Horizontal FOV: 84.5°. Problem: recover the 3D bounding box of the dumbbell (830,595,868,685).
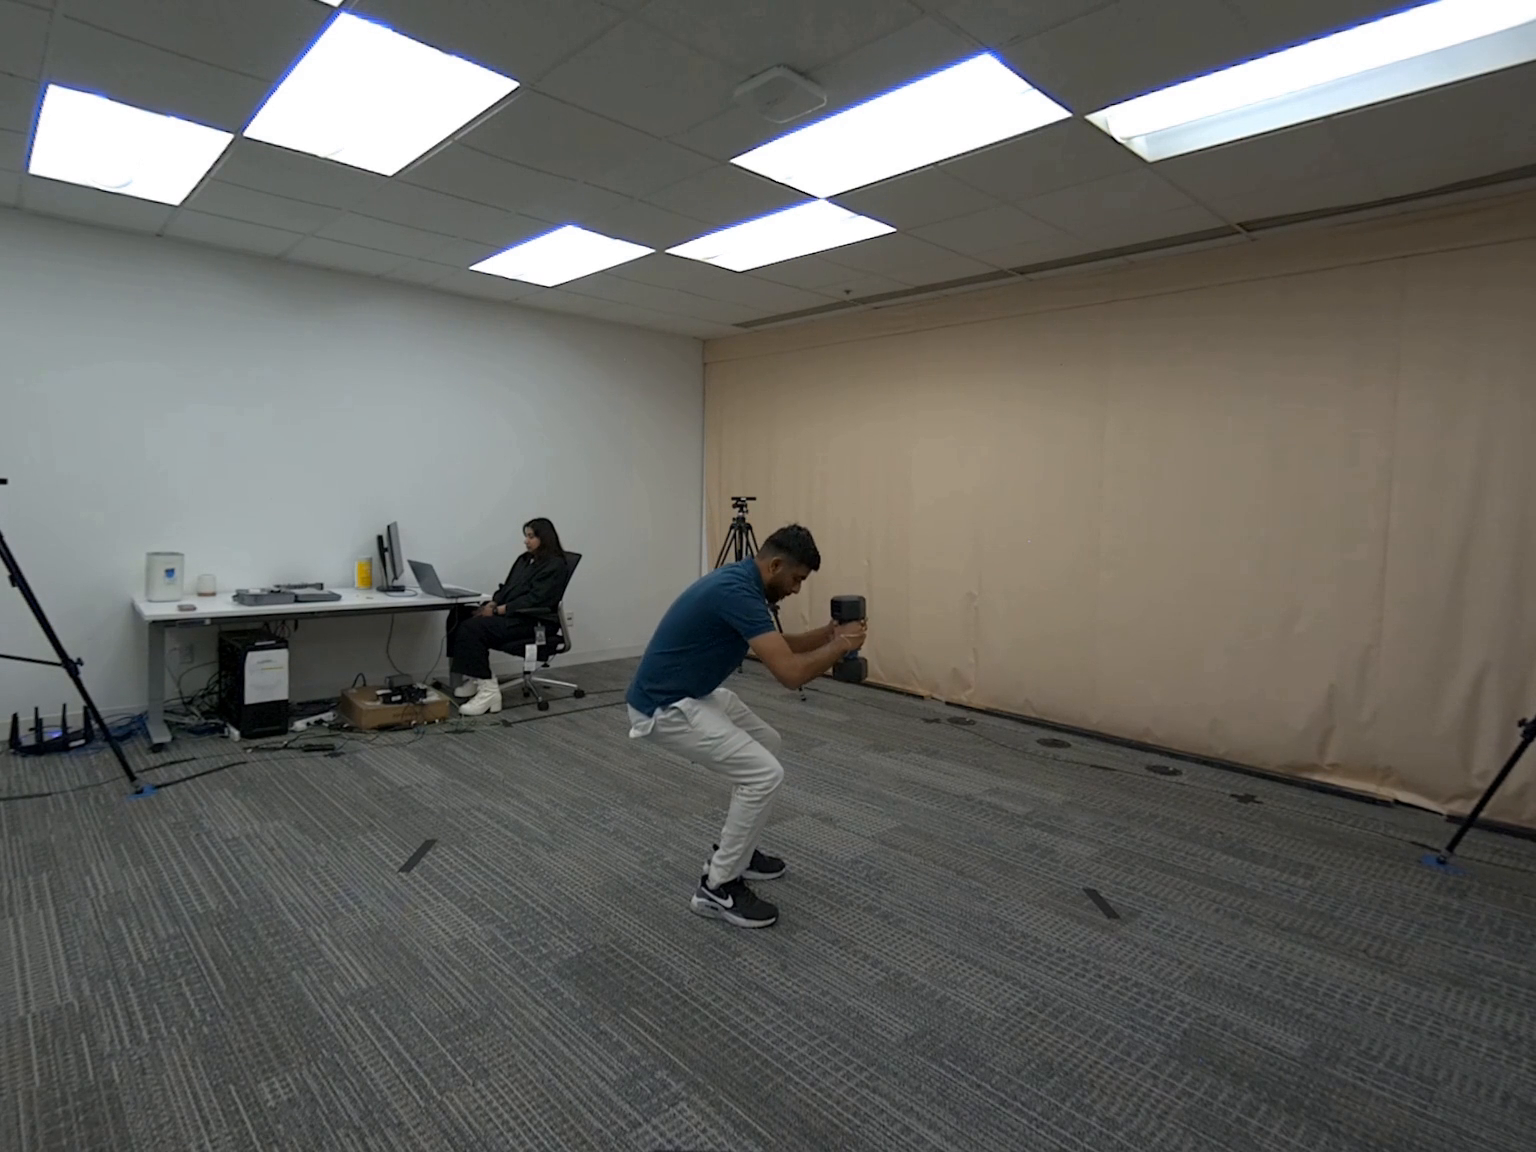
[{"bbox_3d":[0.270,0.209,2.889,0.123,0.293,0.109,-1,1,-3],"label":"dumbbell"}]
